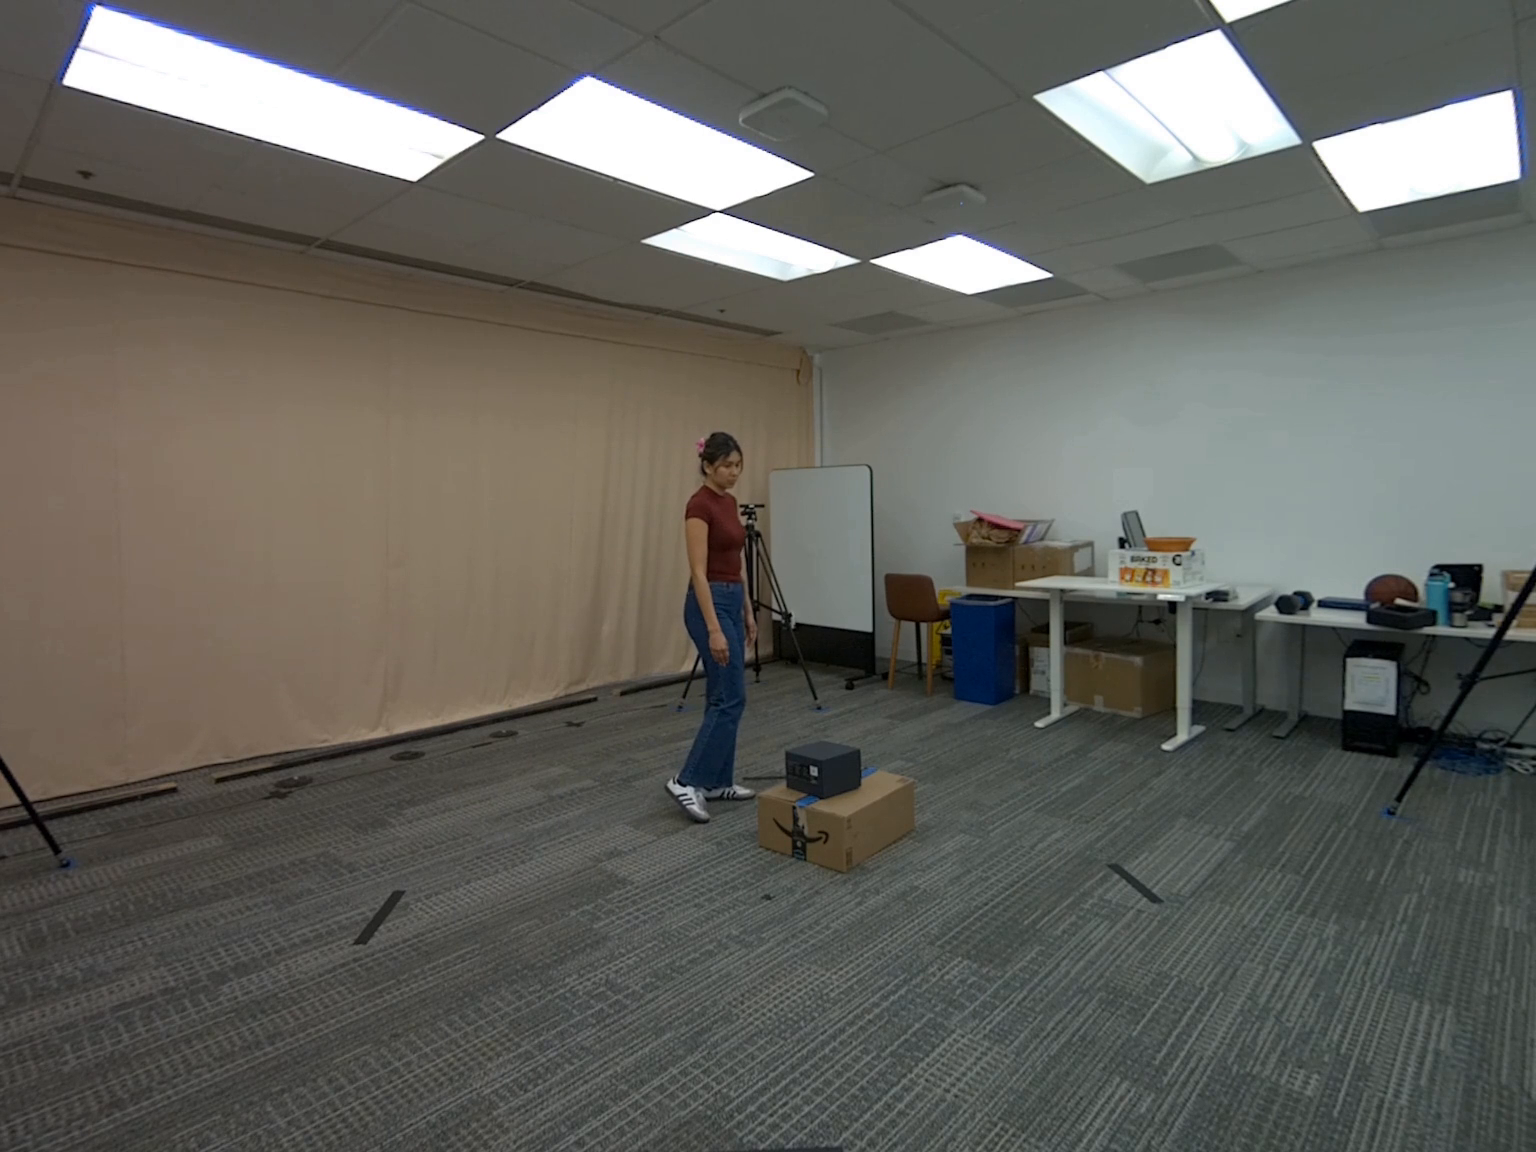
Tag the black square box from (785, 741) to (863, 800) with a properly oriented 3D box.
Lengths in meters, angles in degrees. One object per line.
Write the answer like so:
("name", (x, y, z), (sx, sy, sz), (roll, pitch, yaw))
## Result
("black square box", (0.230, 0.792, 3.478), (0.221, 0.156, 0.224), (-5, 4, -40))
